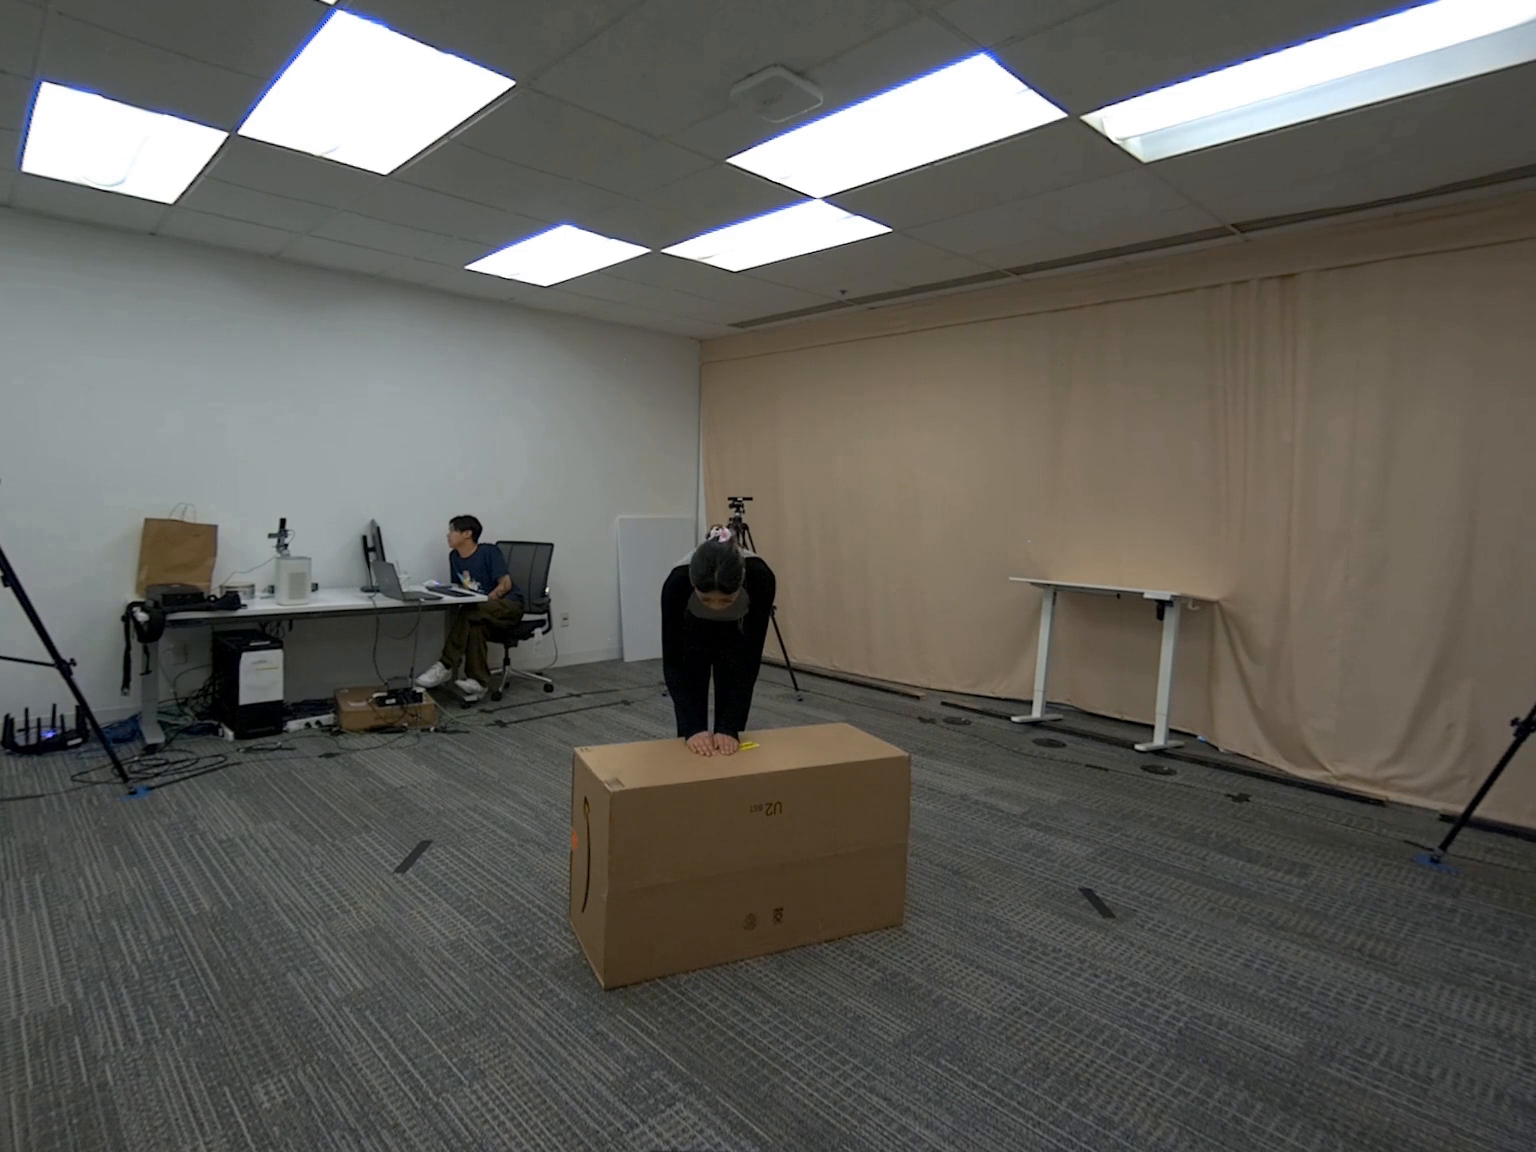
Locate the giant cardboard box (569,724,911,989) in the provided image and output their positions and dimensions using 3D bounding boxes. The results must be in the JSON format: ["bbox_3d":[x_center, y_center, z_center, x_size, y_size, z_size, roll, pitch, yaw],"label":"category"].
[{"bbox_3d":[-0.092,0.854,2.741,1.008,0.576,0.435,0,4,-24],"label":"giant cardboard box"}]
